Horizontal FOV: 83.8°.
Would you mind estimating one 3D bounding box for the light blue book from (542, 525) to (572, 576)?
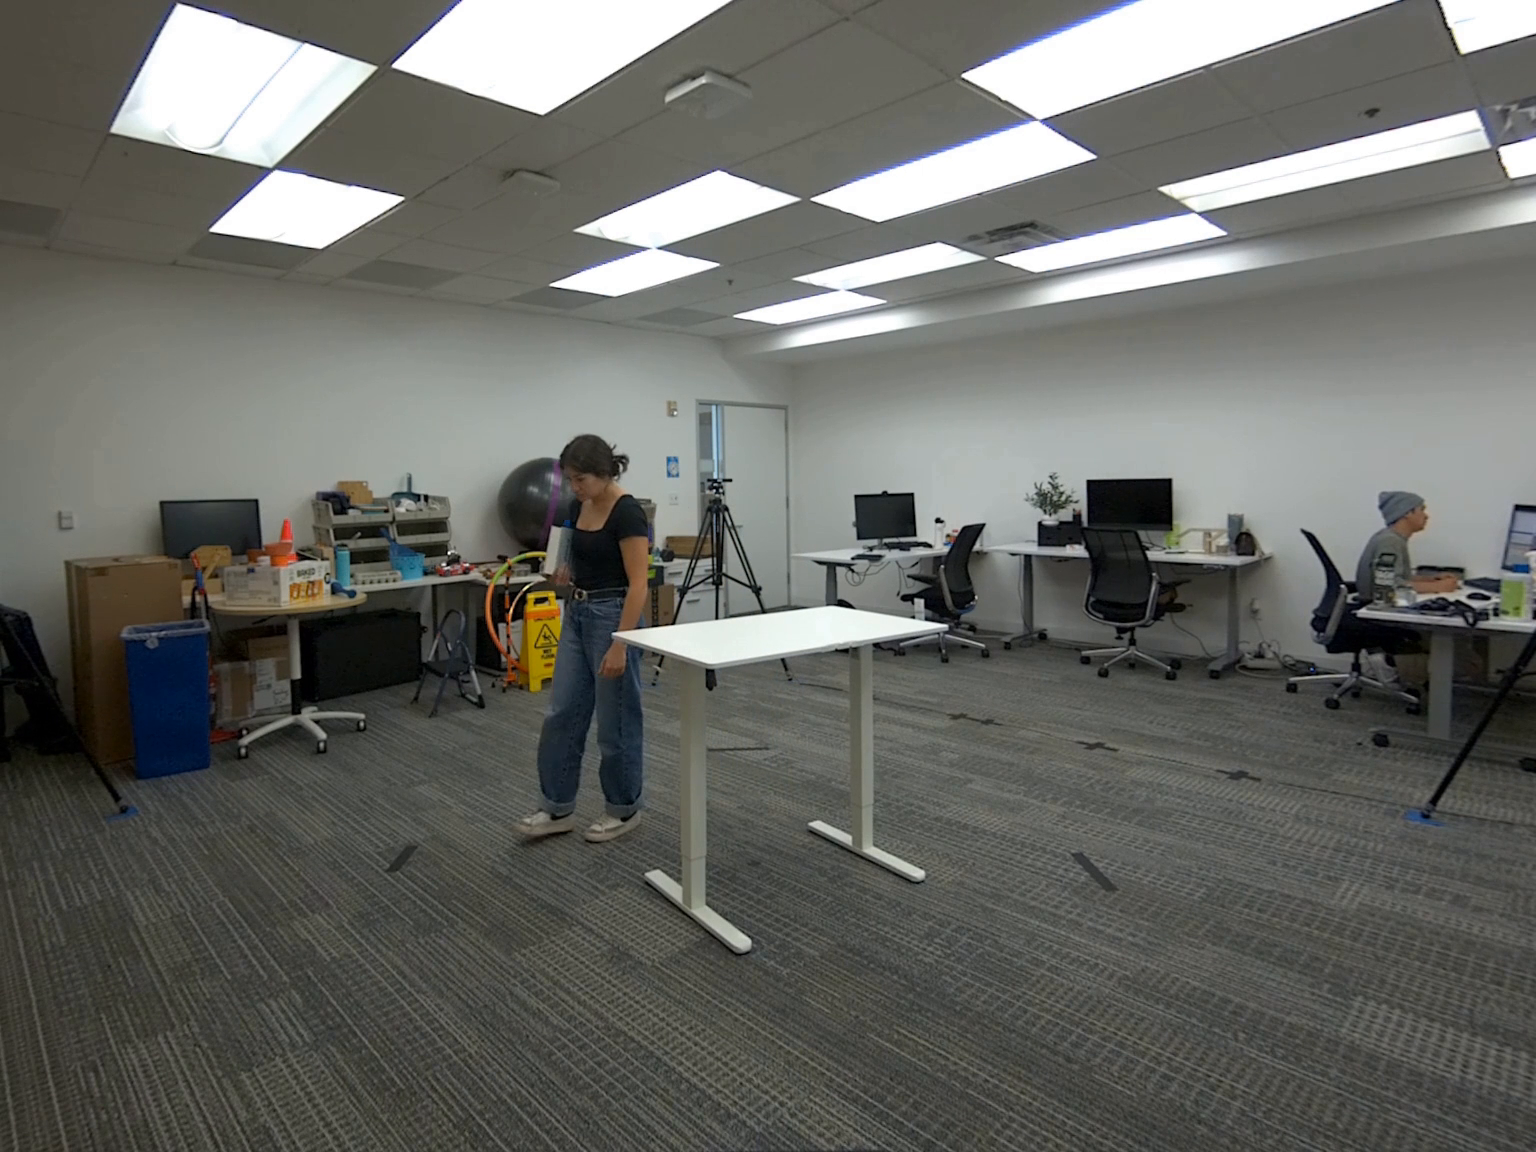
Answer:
[{"bbox_3d":[-0.768,-0.086,3.407,0.061,0.192,0.253,9,-3,30],"label":"light blue book"}]
